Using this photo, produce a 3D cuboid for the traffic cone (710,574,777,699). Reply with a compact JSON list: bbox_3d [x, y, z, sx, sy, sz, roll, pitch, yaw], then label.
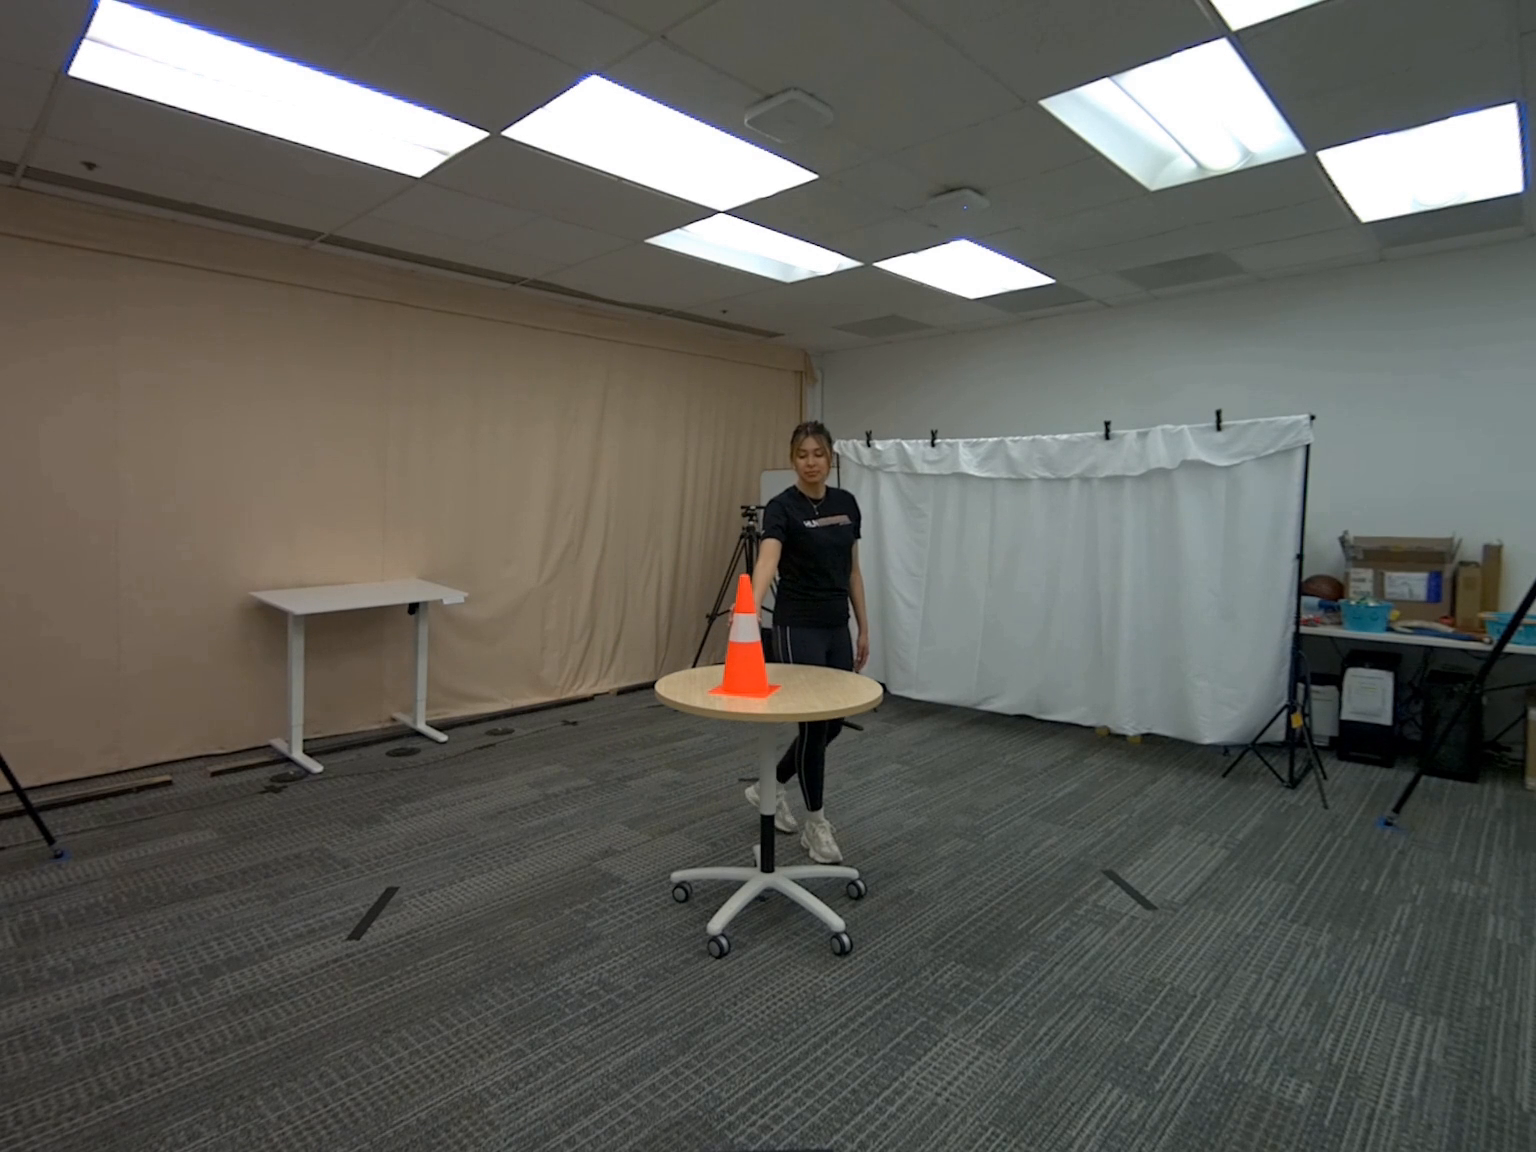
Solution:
[{"bbox_3d":[-0.069,0.188,2.779,0.208,0.383,0.200,2,2,24],"label":"traffic cone"}]
